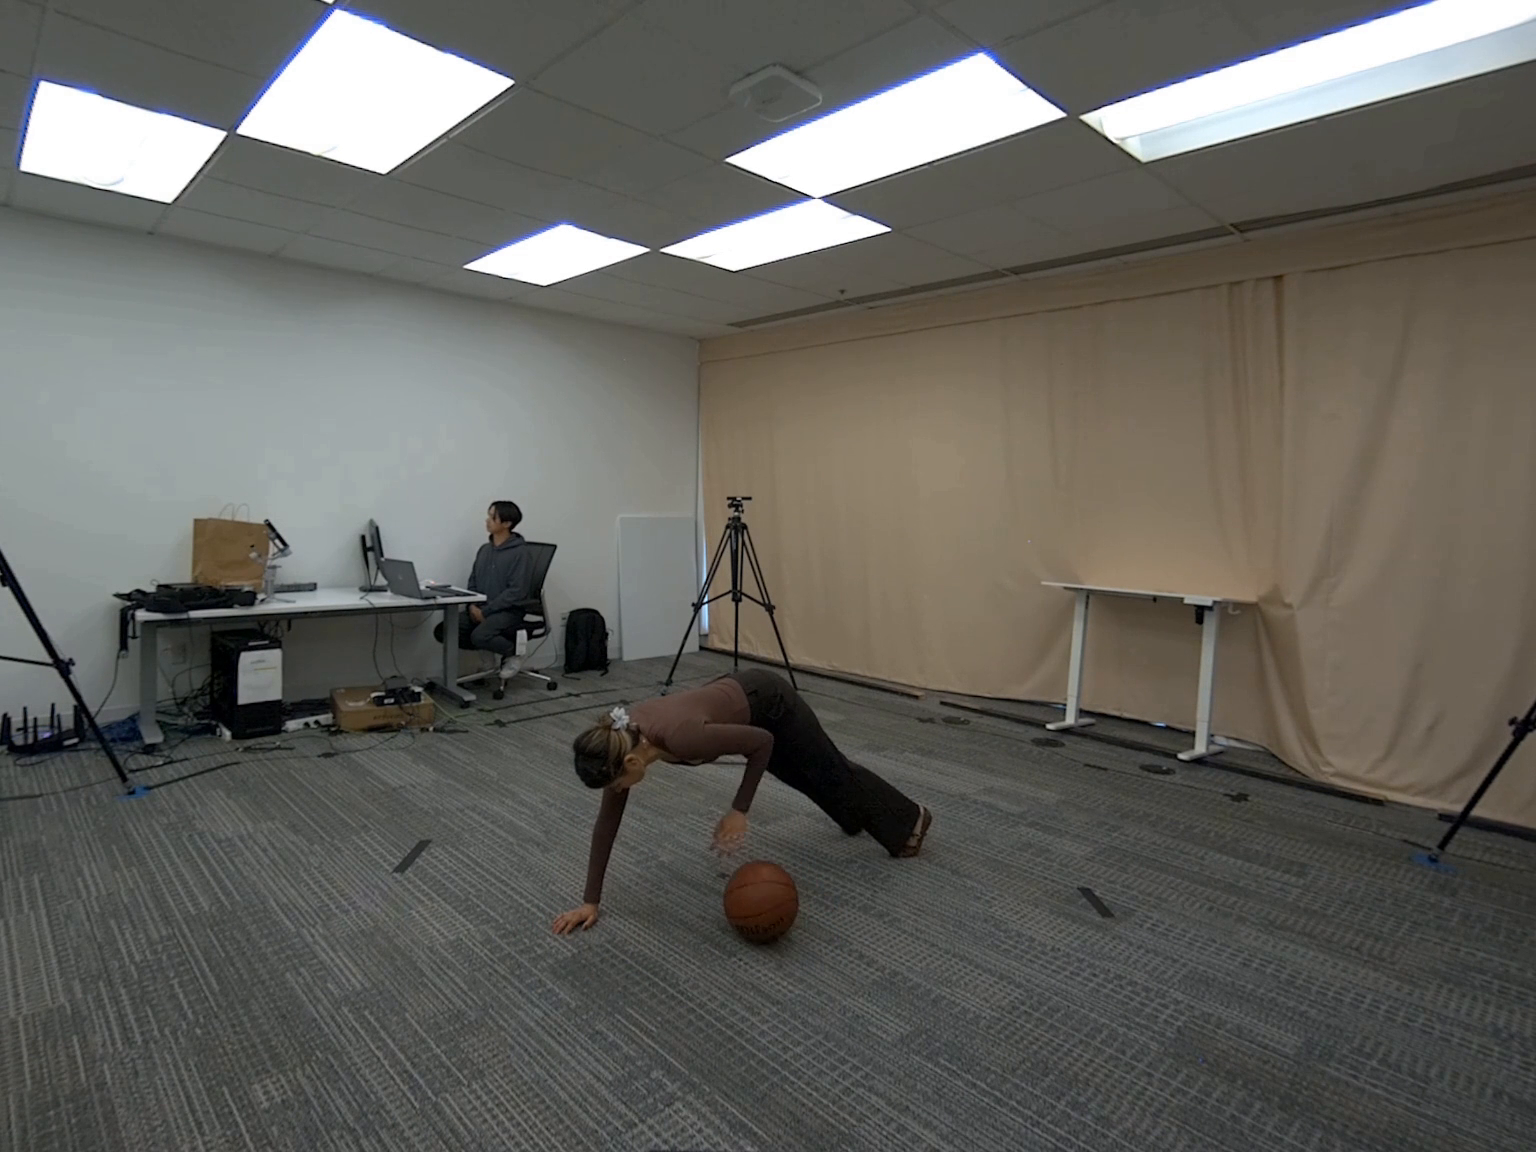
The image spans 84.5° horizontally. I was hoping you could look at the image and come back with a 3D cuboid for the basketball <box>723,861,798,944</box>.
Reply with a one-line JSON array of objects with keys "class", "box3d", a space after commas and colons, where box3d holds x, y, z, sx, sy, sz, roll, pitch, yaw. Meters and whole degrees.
[{"class": "basketball", "box3d": [-0.027, 1.028, 2.660, 0.236, 0.235, 0.237, 1, 4, -1]}]
